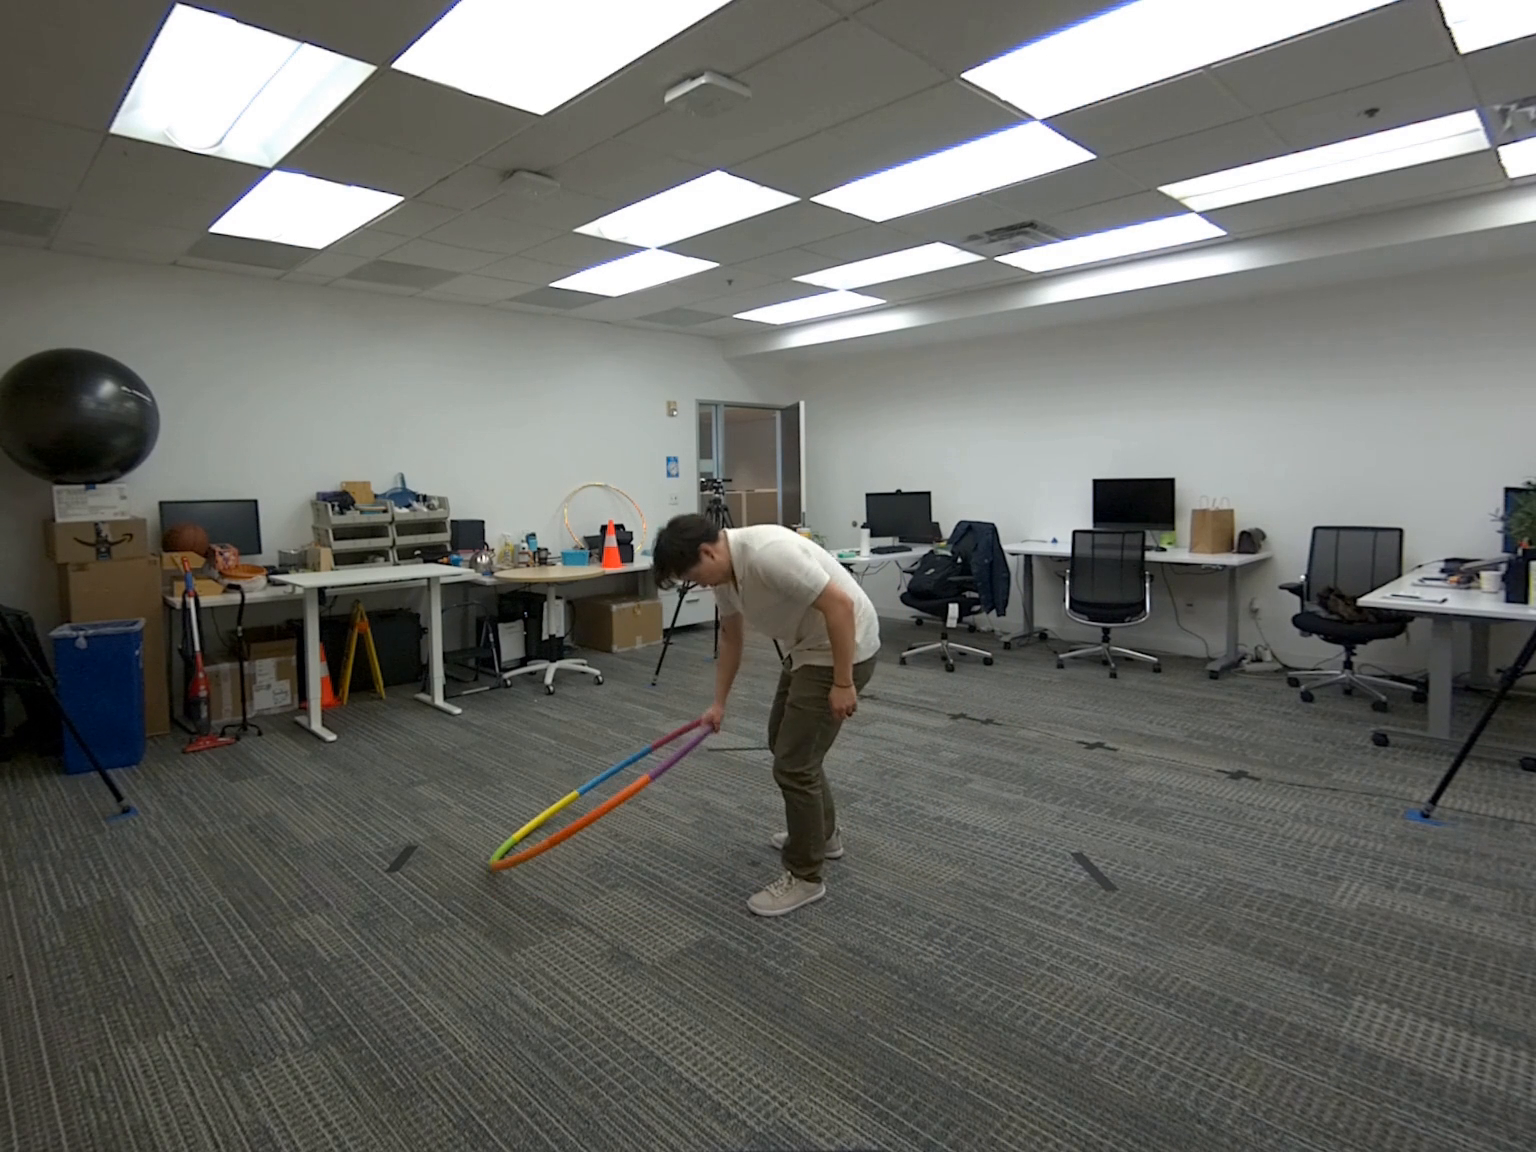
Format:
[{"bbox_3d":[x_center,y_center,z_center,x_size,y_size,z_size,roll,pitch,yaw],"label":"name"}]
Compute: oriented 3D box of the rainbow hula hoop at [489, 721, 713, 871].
[{"bbox_3d":[-0.597,0.781,3.178,0.977,0.036,0.976,-32,-1,-4],"label":"rainbow hula hoop"}]
